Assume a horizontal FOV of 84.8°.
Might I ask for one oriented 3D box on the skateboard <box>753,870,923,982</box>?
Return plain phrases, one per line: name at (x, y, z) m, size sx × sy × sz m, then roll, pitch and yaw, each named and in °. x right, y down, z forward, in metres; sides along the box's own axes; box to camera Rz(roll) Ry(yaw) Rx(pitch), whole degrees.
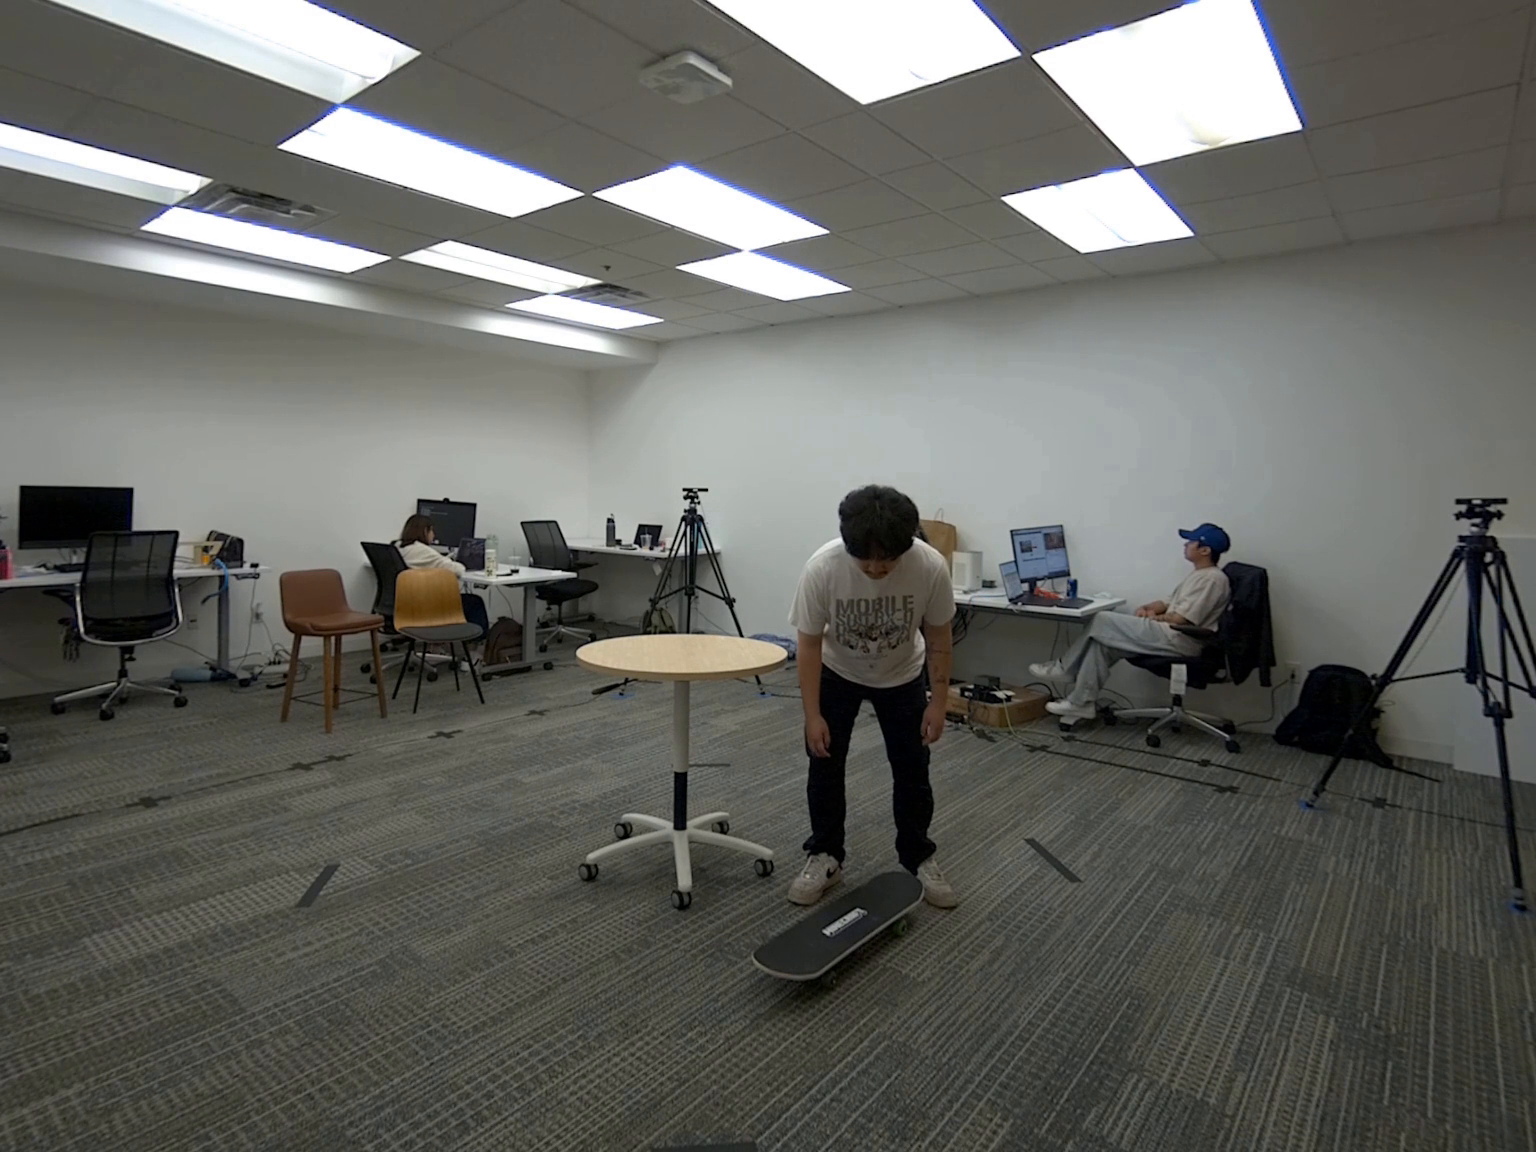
skateboard at (0.236, 1.081, 2.577) m, size 0.200 × 0.110 × 0.762 m, roll 6°, pitch 8°, yaw 39°
